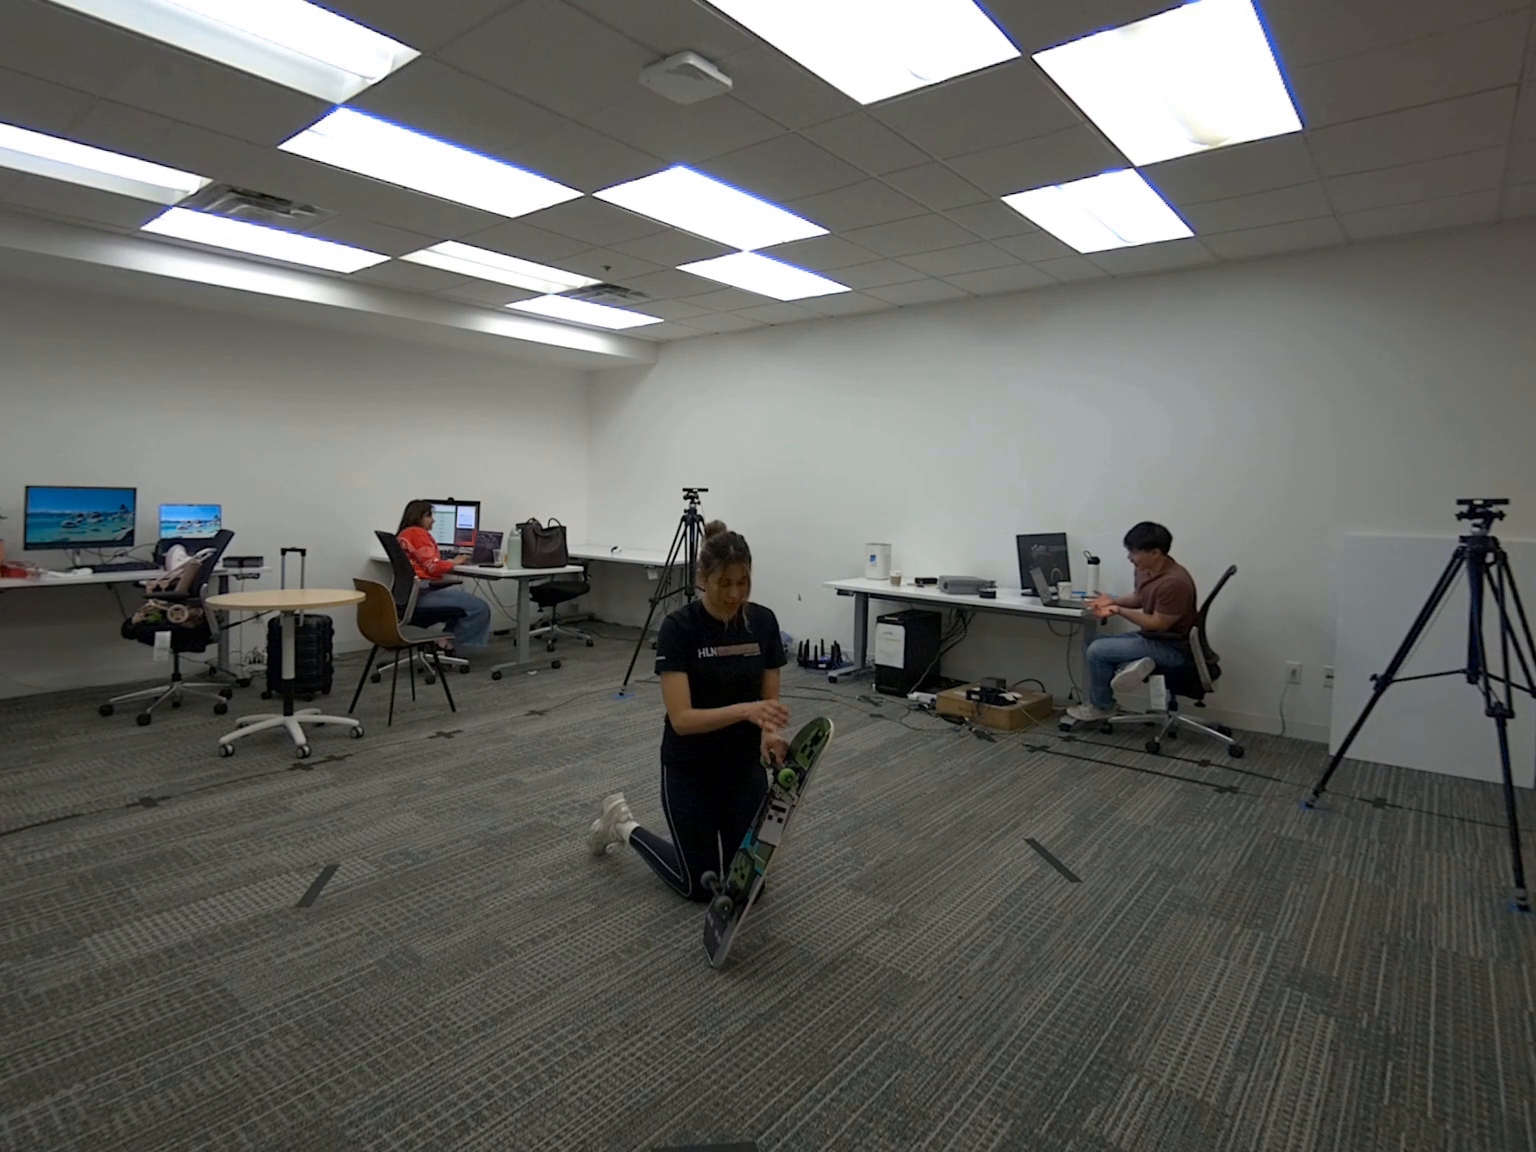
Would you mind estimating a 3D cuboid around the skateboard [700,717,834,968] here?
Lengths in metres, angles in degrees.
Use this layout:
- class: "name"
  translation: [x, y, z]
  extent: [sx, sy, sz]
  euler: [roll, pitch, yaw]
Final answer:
- class: "skateboard"
  translation: [-0.036, 0.755, 2.503]
  extent: [0.108, 0.787, 0.198]
  euler: [29, -5, -19]
